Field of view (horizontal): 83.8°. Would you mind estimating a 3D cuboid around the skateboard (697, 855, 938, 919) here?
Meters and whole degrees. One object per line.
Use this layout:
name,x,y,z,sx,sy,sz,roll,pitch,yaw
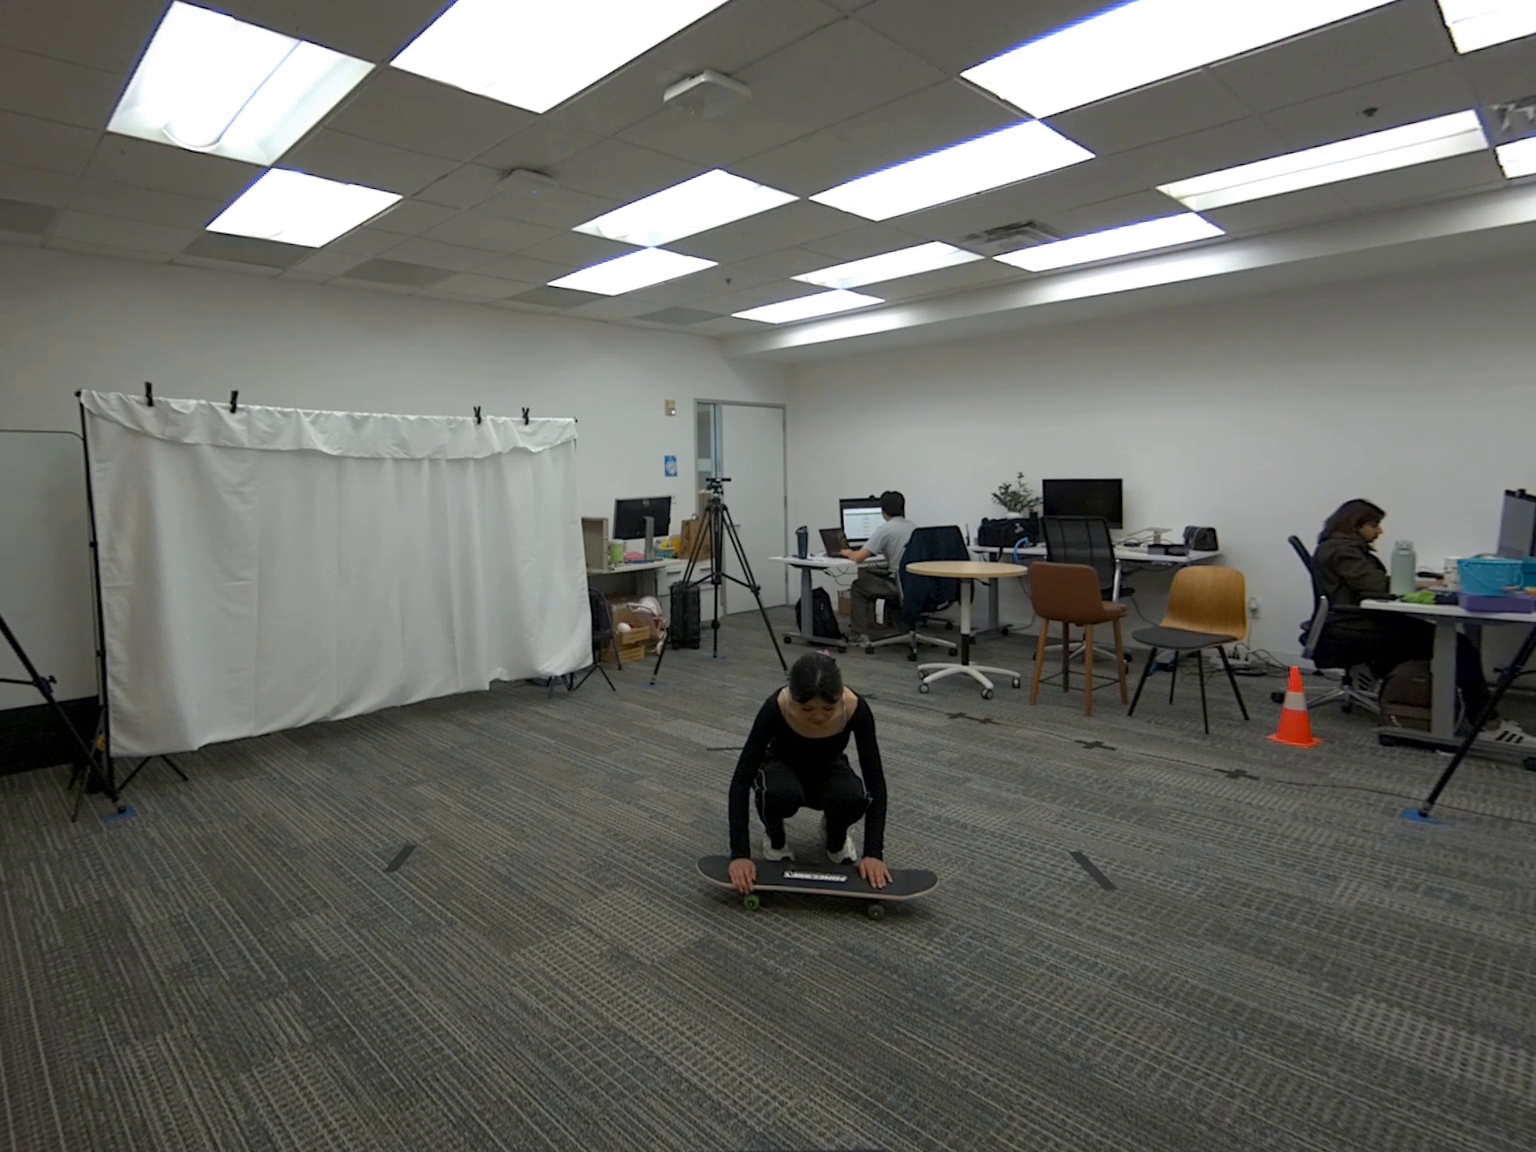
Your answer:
skateboard,0.148,1.015,2.805,0.794,0.110,0.192,0,6,11
